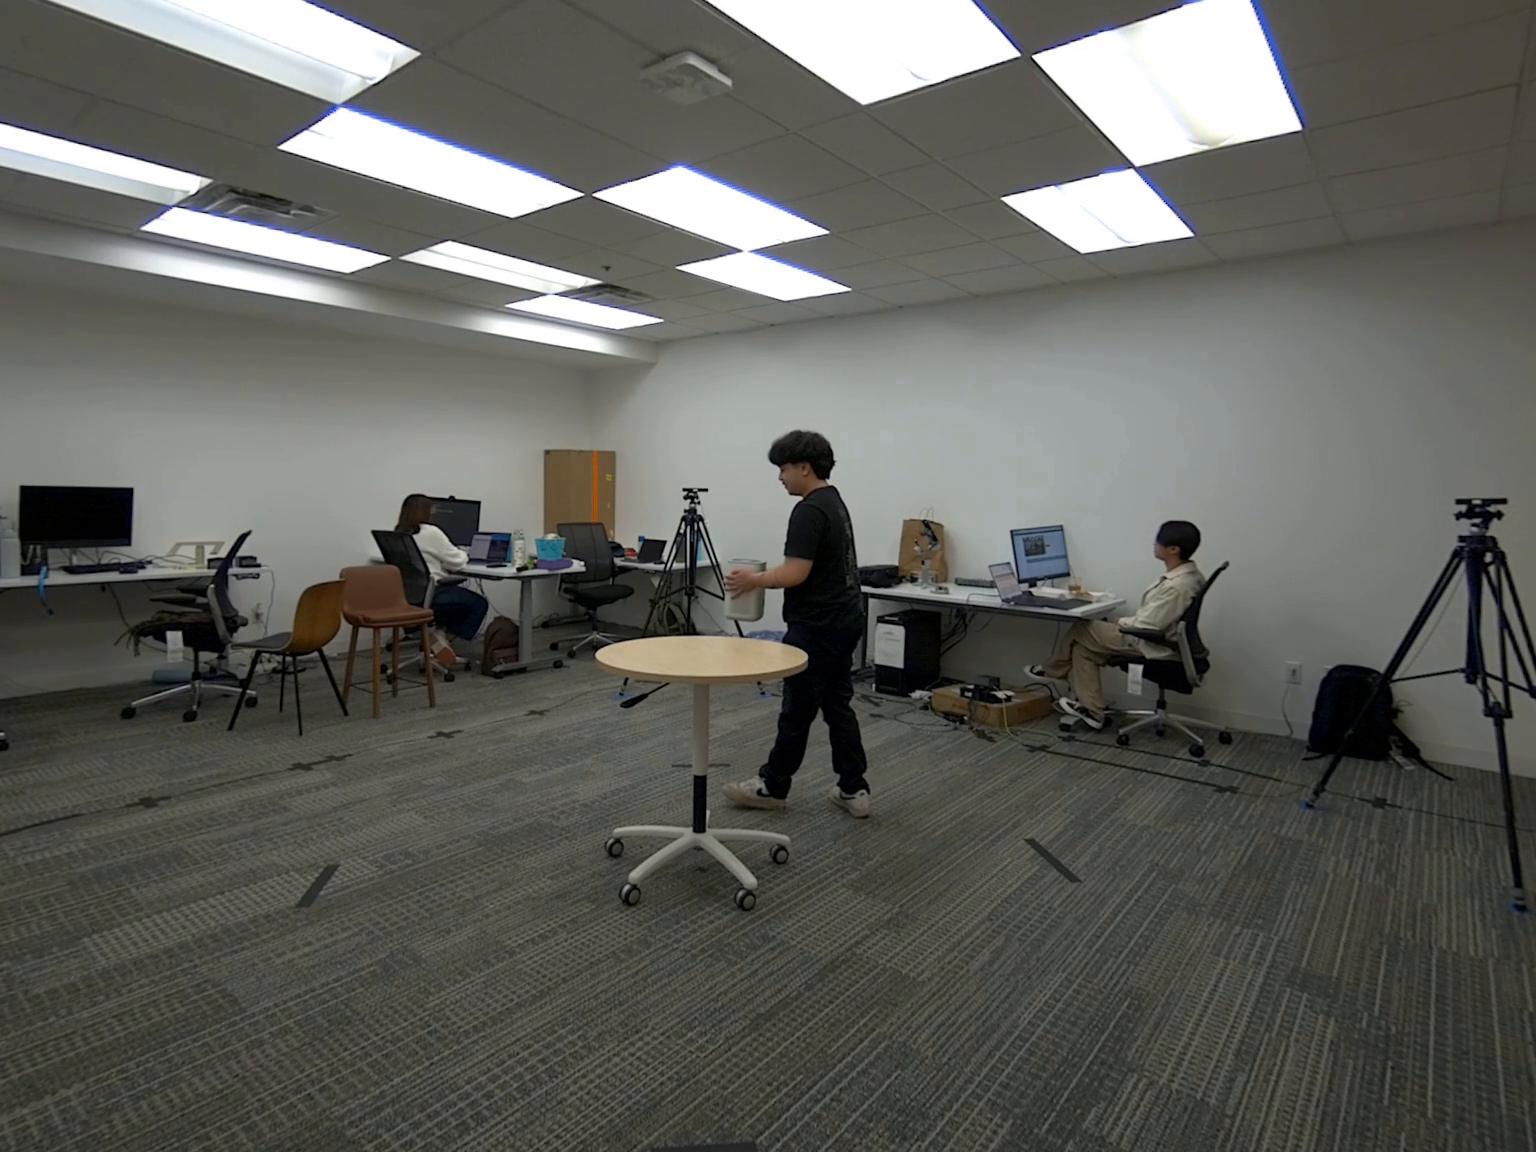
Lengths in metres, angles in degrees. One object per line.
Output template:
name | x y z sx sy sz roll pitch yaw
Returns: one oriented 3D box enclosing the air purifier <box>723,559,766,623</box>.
air purifier | -0.107 0.063 3.834 0.174 0.264 0.170 4 4 10
